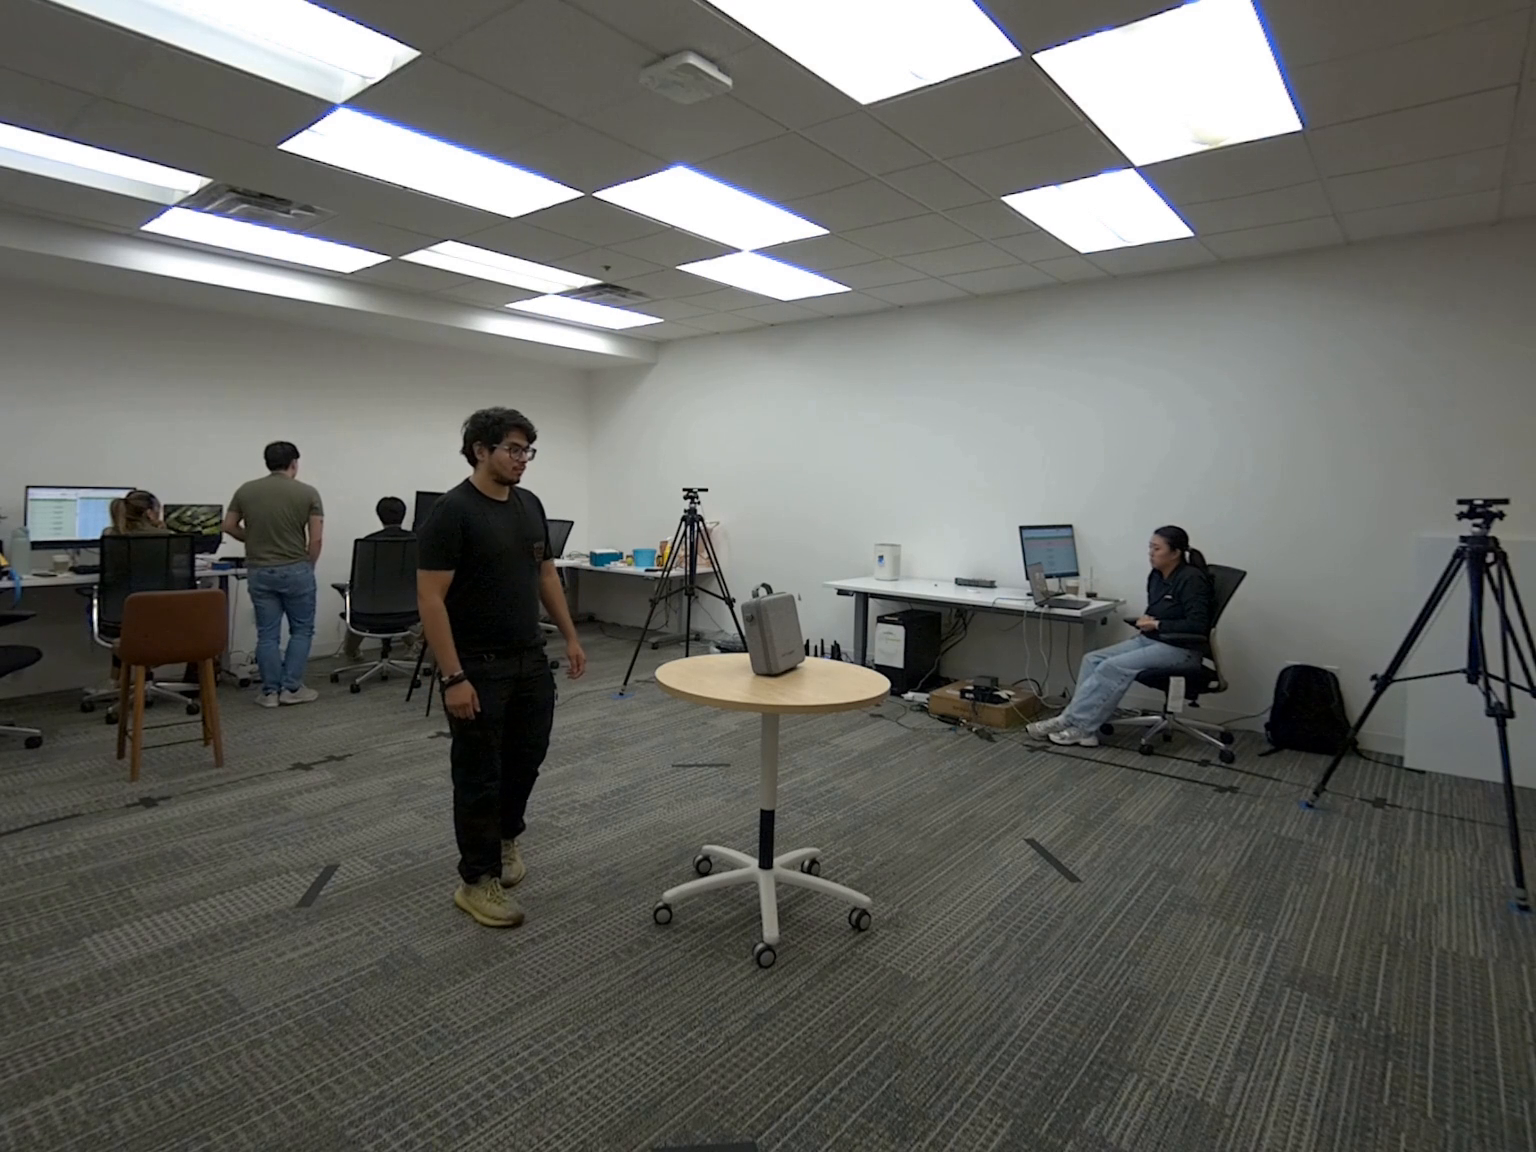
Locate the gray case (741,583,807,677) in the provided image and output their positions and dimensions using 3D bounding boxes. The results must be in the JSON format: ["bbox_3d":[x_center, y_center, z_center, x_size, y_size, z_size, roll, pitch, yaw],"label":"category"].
[{"bbox_3d":[0.011,0.187,2.875,0.106,0.262,0.251,-11,-3,26],"label":"gray case"}]
